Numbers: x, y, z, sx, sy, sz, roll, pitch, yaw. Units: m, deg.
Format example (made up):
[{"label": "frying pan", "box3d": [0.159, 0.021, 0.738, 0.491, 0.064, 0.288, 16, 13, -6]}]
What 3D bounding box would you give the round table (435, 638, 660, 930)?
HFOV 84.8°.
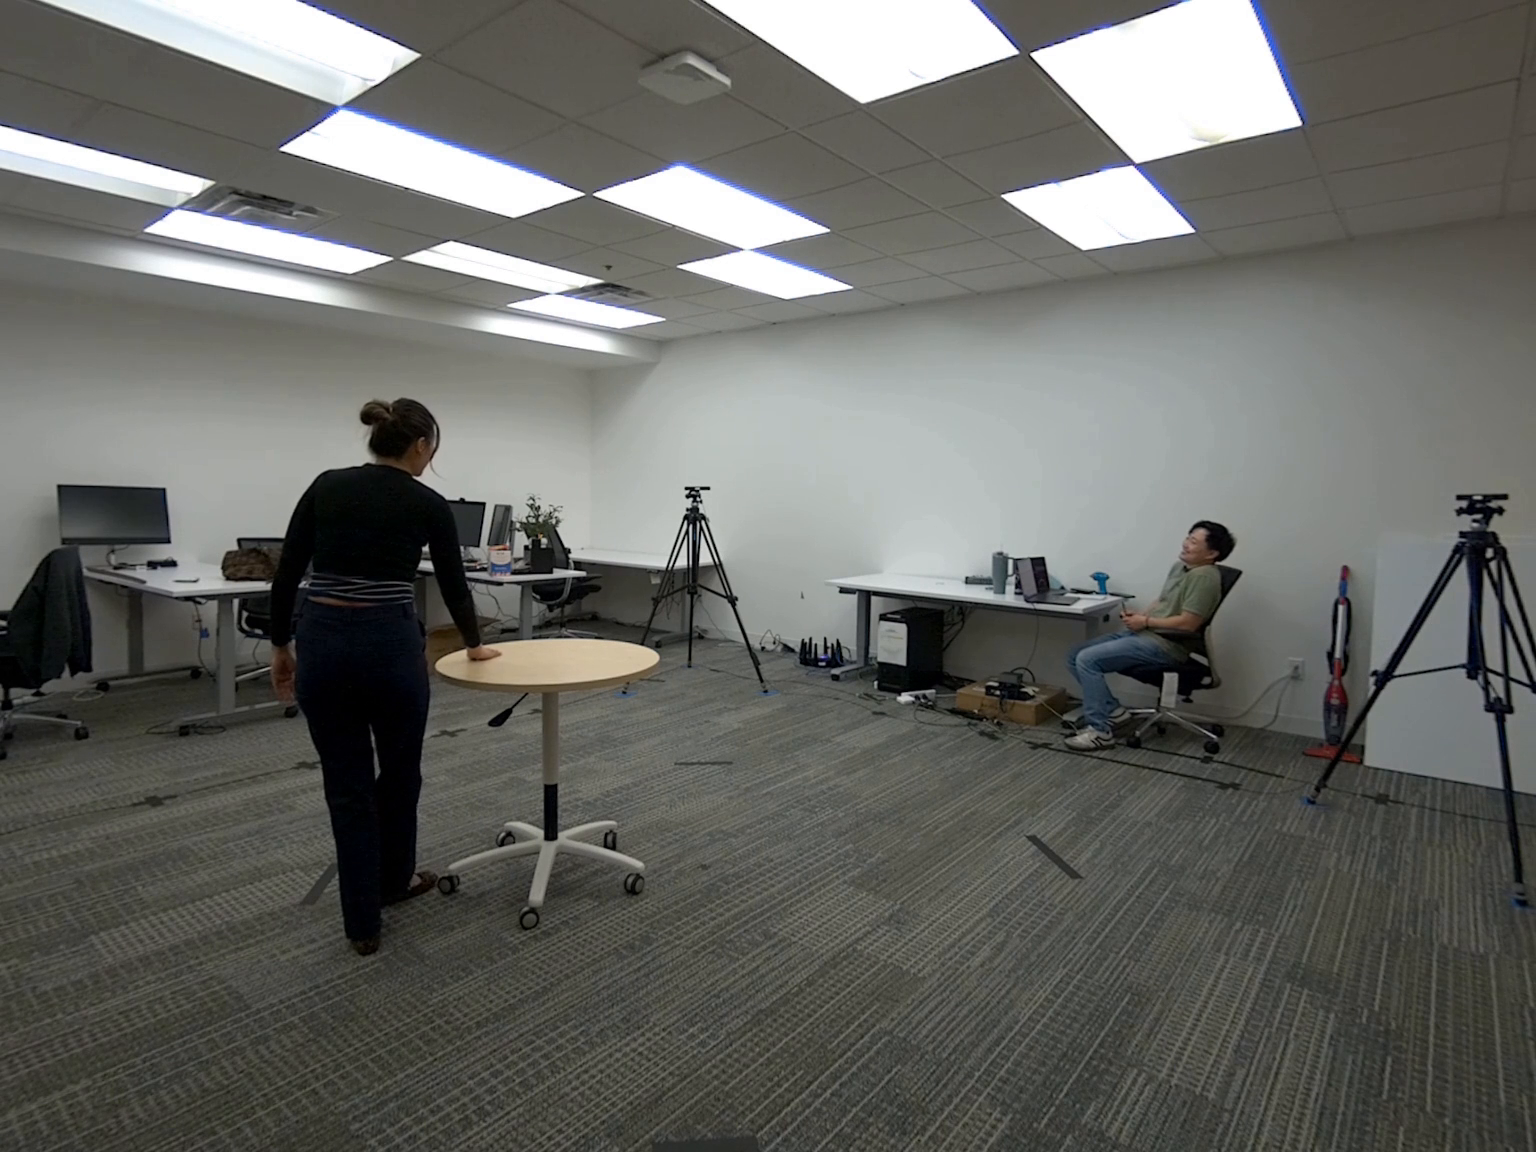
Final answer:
[{"label": "round table", "box3d": [-0.774, 0.681, 2.999, 0.763, 0.791, 0.768, 0, 4, -2]}]
